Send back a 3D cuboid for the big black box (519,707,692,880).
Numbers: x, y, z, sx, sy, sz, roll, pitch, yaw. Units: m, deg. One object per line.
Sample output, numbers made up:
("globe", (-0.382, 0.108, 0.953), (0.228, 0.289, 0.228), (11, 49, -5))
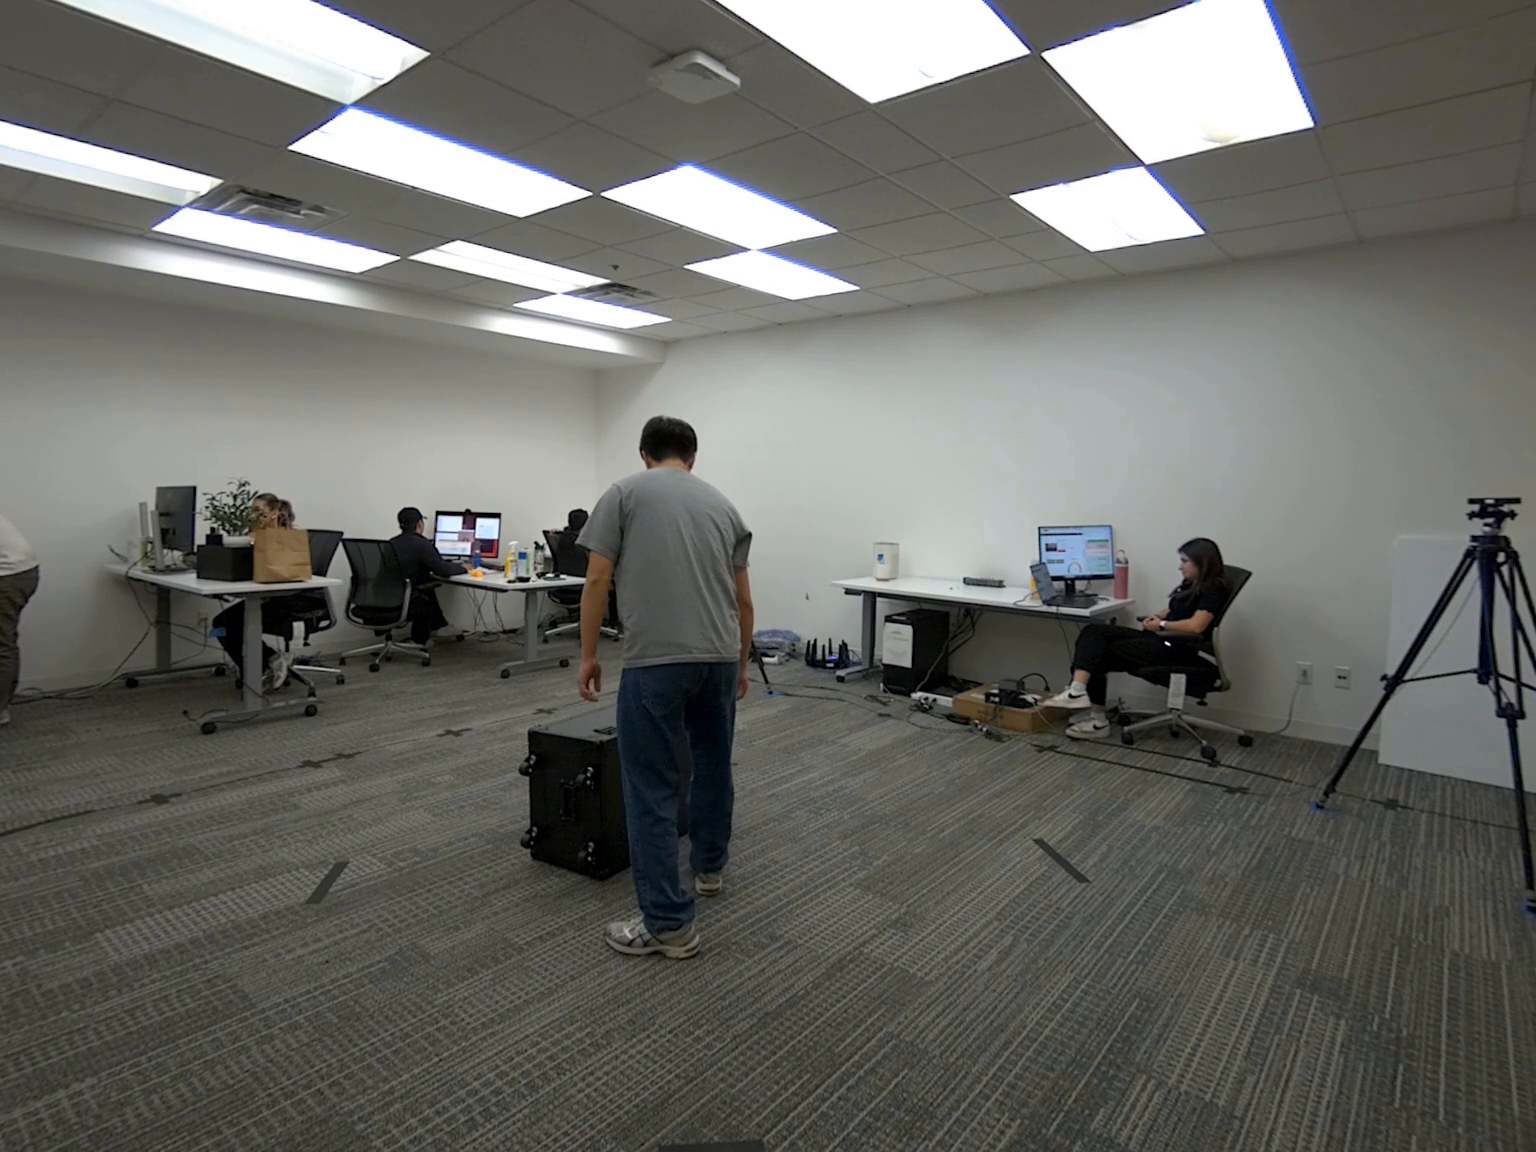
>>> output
("big black box", (-0.580, 0.776, 3.362), (0.407, 0.520, 0.840), (0, 4, 30))
